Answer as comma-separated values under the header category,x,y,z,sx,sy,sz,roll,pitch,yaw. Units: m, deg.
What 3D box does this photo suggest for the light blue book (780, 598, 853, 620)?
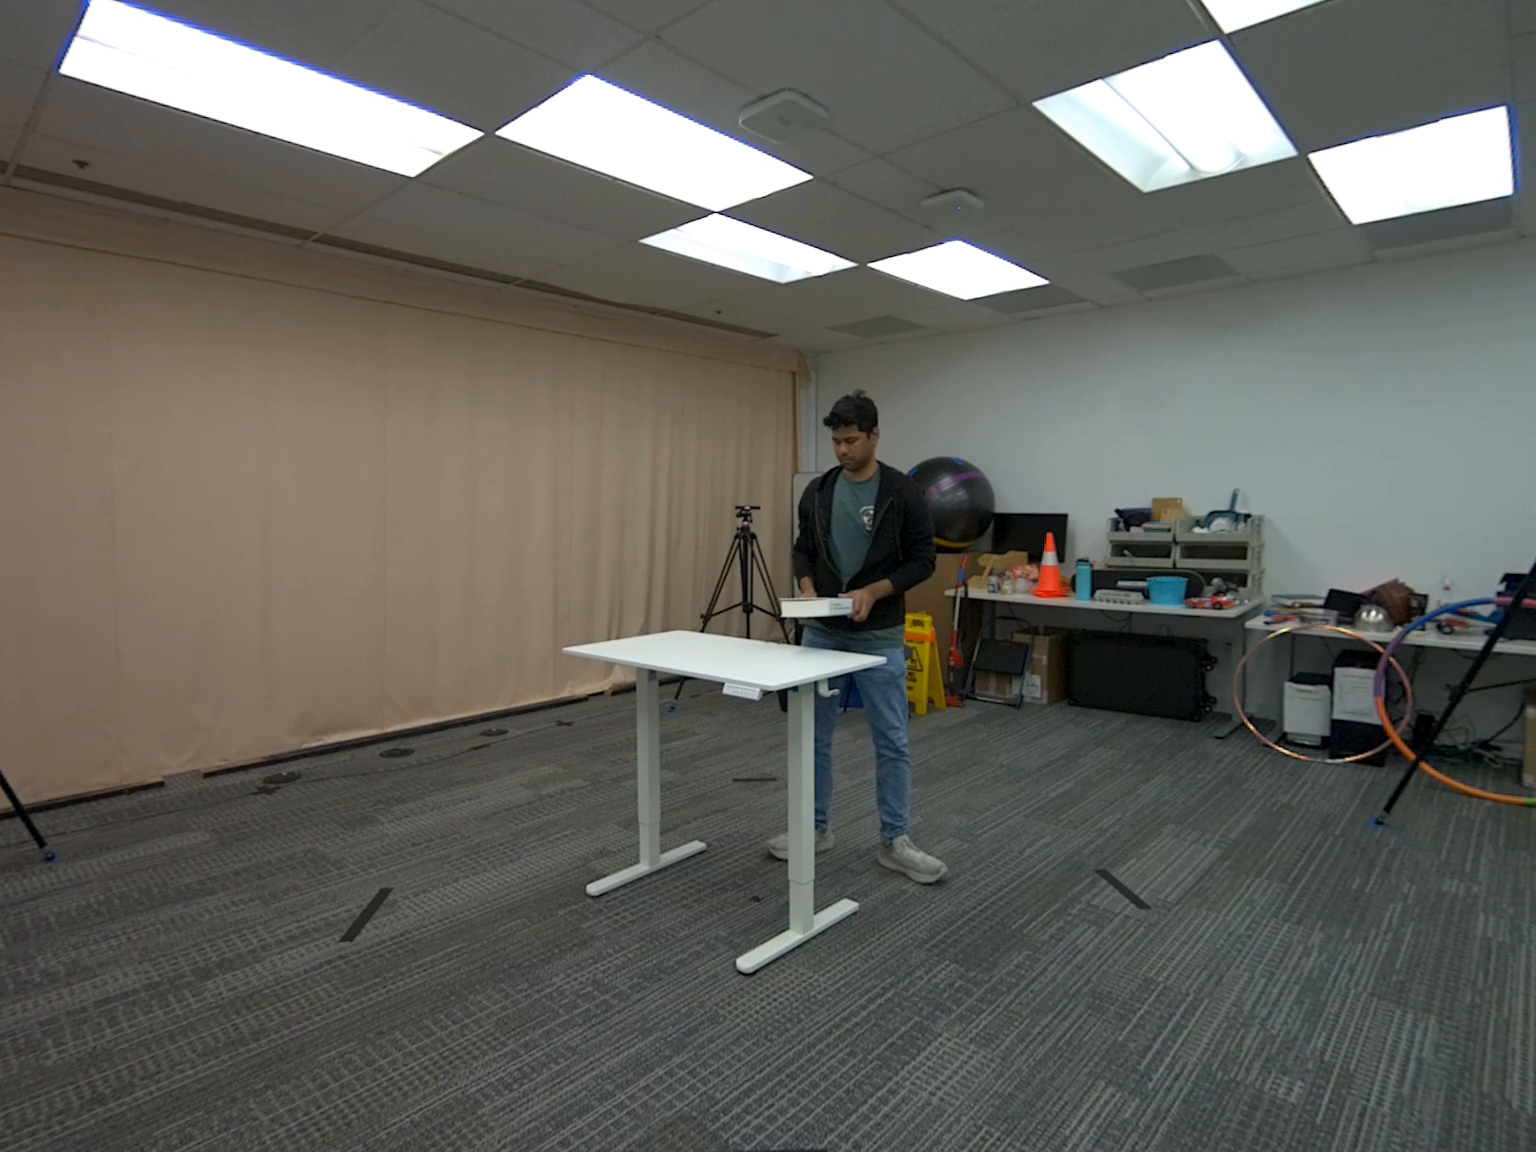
category,x,y,z,sx,sy,sz,roll,pitch,yaw
light blue book,0.178,0.115,2.992,0.196,0.059,0.254,-2,-2,25
